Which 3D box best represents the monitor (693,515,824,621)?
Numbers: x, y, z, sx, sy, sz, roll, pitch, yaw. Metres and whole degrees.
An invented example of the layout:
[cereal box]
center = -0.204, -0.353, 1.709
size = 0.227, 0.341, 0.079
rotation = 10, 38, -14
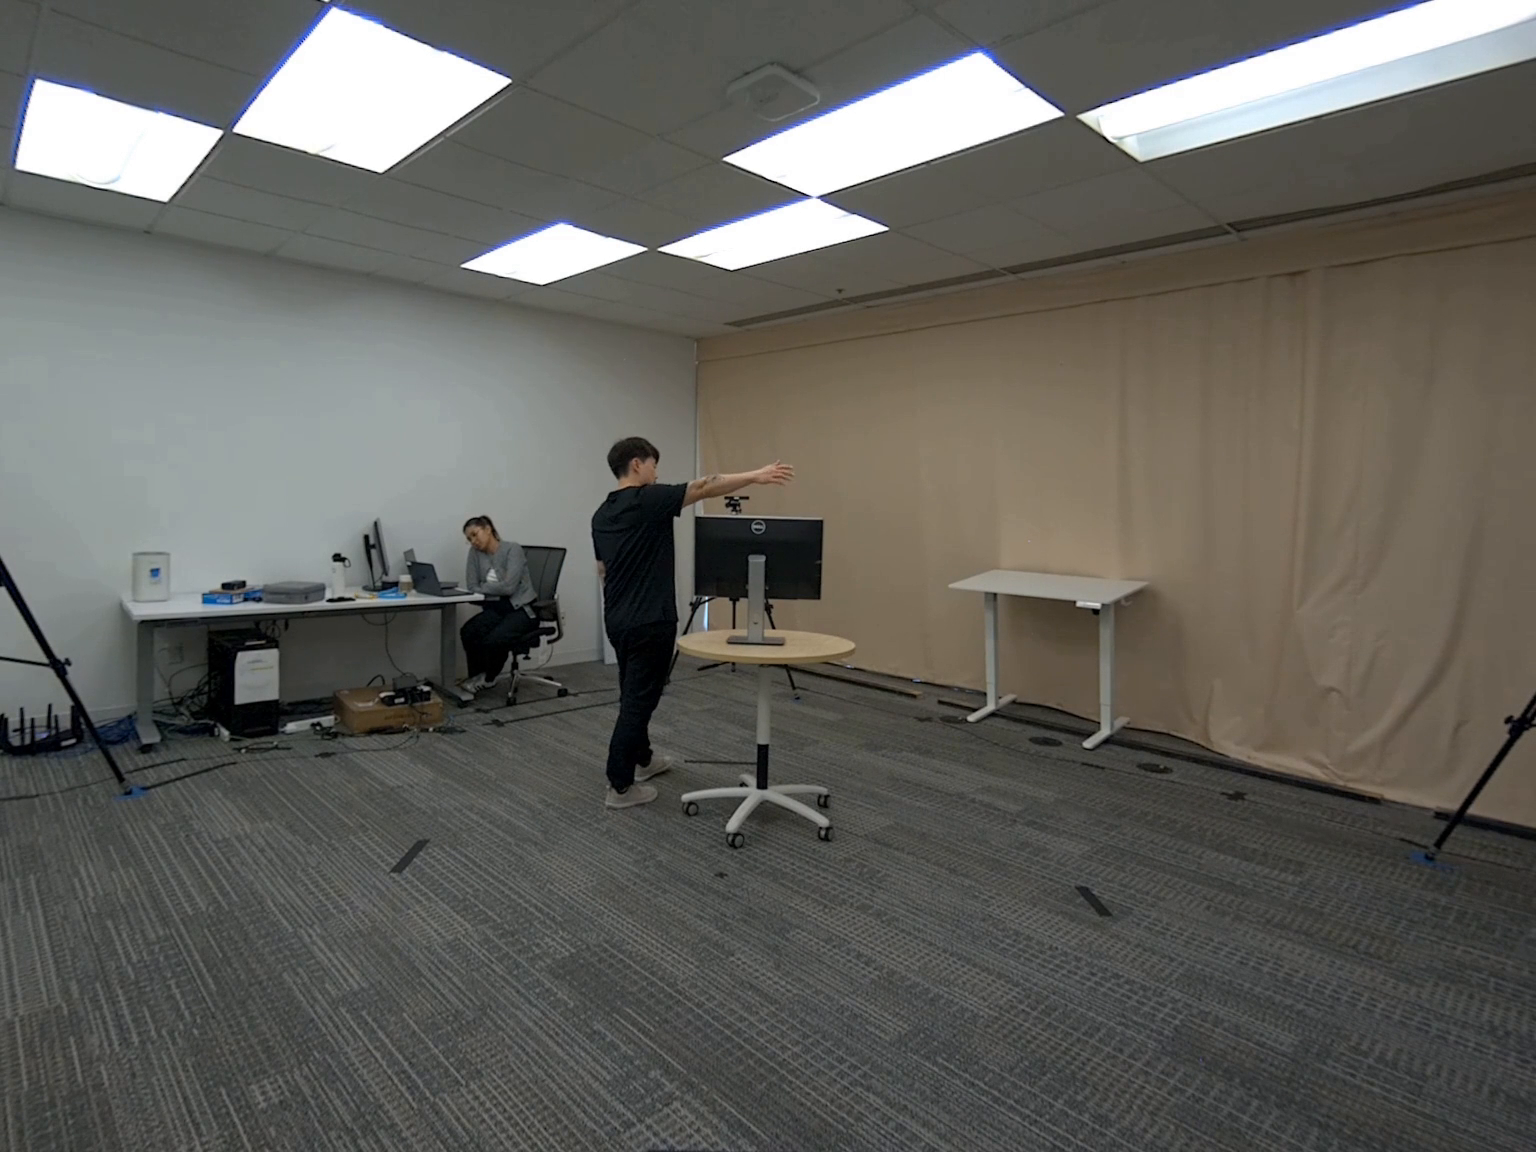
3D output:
[monitor]
center = -0.049, 0.017, 3.608
size = 0.540, 0.522, 0.187
rotation = 2, 1, 2
